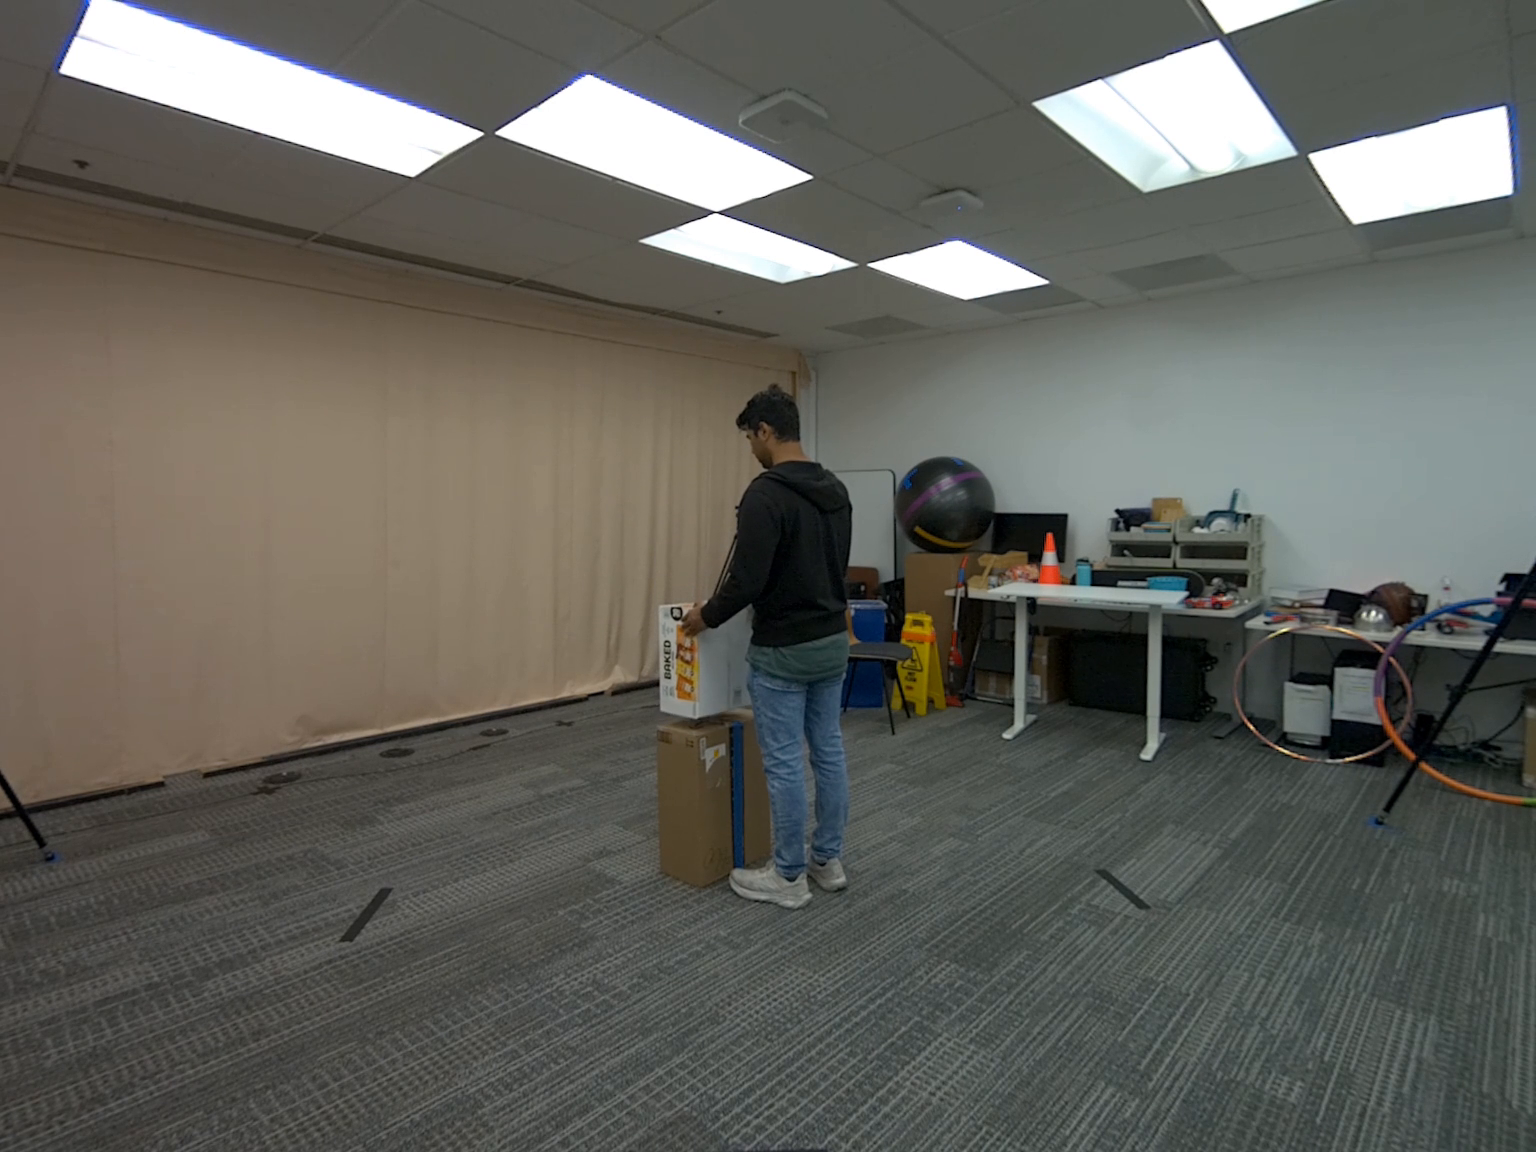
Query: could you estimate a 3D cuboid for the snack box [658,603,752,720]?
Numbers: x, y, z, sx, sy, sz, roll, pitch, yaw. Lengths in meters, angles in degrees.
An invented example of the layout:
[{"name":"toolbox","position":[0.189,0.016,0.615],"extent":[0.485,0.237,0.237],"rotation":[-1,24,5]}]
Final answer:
[{"name":"snack box","position":[-0.221,0.301,3.244],"extent":[0.212,0.405,0.330],"rotation":[0,2,42]}]
